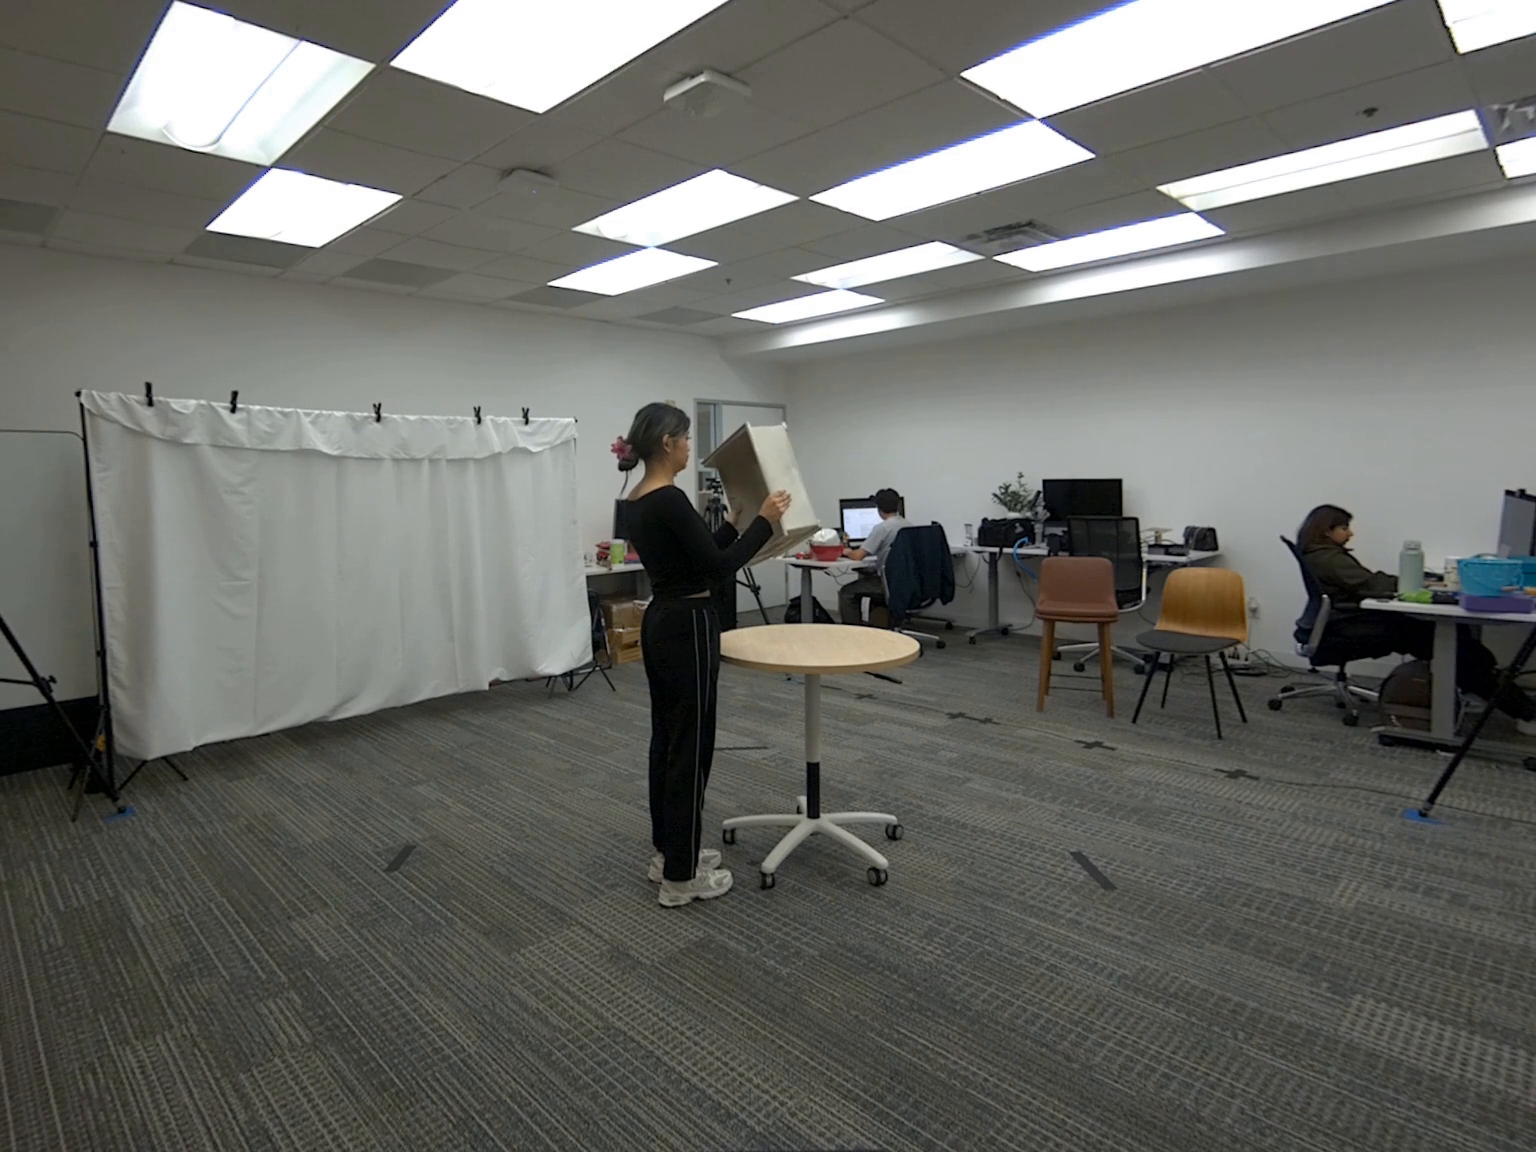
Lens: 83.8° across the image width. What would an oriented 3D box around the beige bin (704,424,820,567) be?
[{"bbox_3d":[-0.048,-0.282,3.080,0.184,0.429,0.380,-8,-16,-35],"label":"beige bin"}]
